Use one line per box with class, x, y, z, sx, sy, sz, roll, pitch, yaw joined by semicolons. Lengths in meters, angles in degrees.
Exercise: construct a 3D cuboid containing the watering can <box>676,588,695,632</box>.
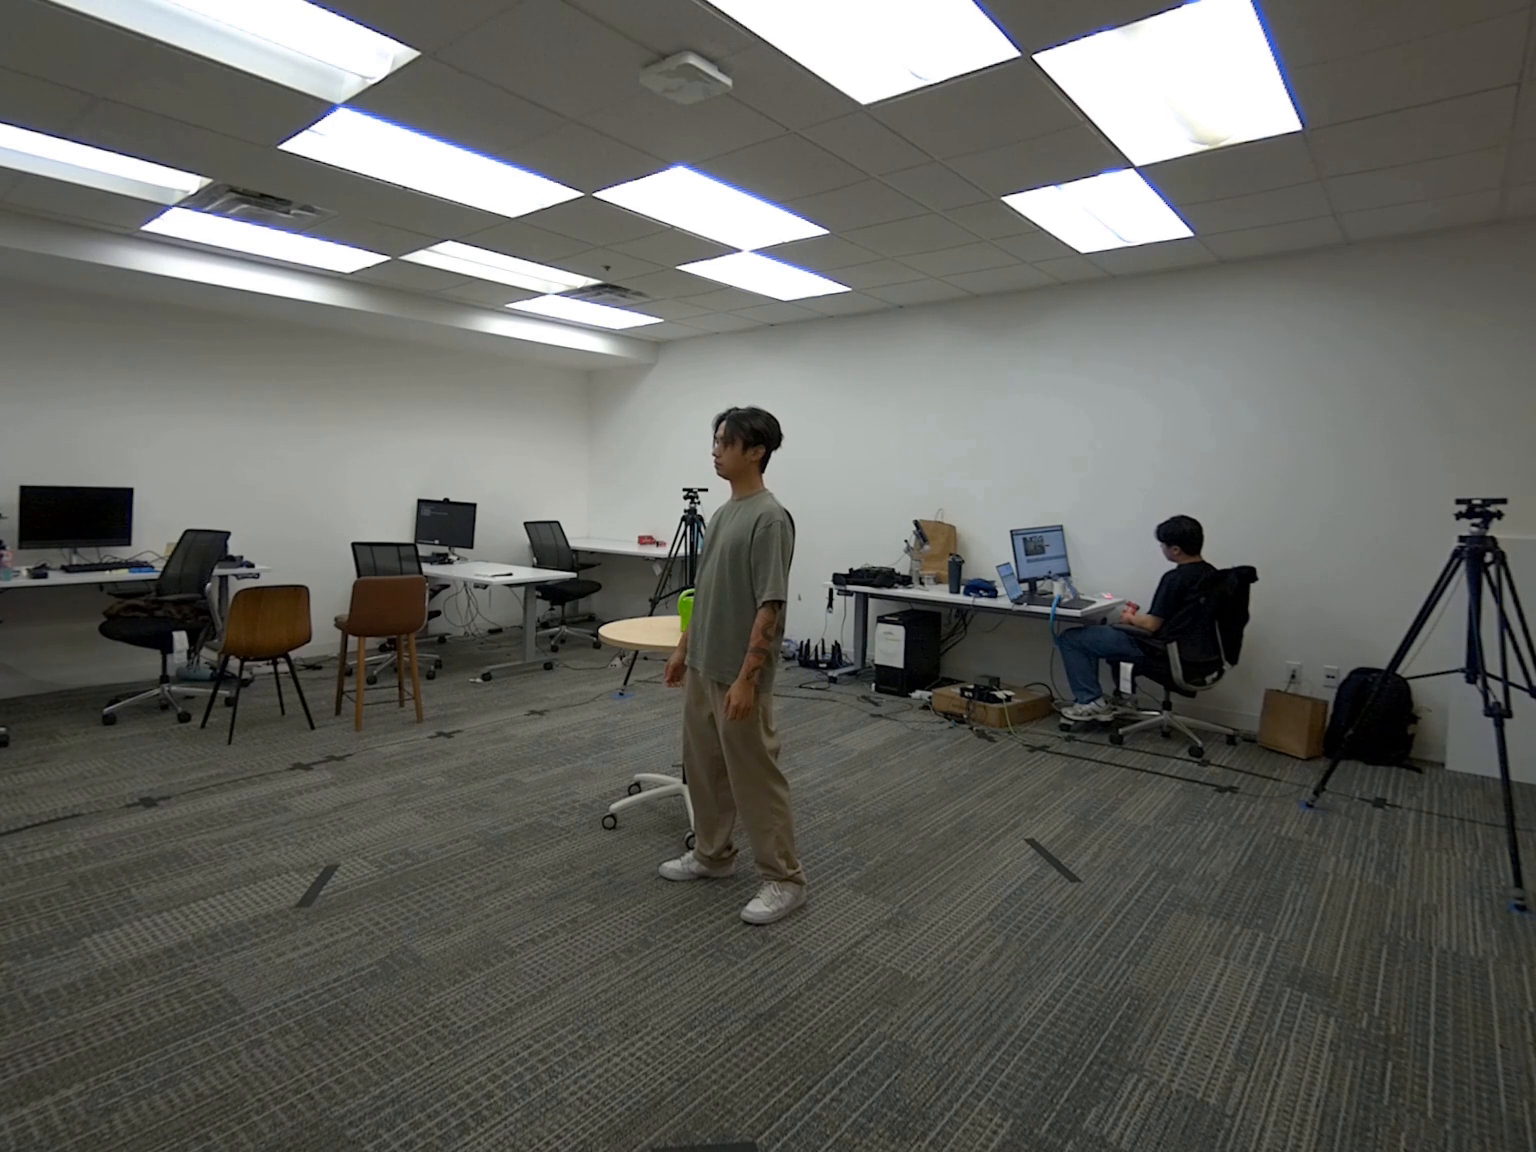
watering can;-0.290;0.137;3.593;0.270;0.176;0.101;-5;7;-39
